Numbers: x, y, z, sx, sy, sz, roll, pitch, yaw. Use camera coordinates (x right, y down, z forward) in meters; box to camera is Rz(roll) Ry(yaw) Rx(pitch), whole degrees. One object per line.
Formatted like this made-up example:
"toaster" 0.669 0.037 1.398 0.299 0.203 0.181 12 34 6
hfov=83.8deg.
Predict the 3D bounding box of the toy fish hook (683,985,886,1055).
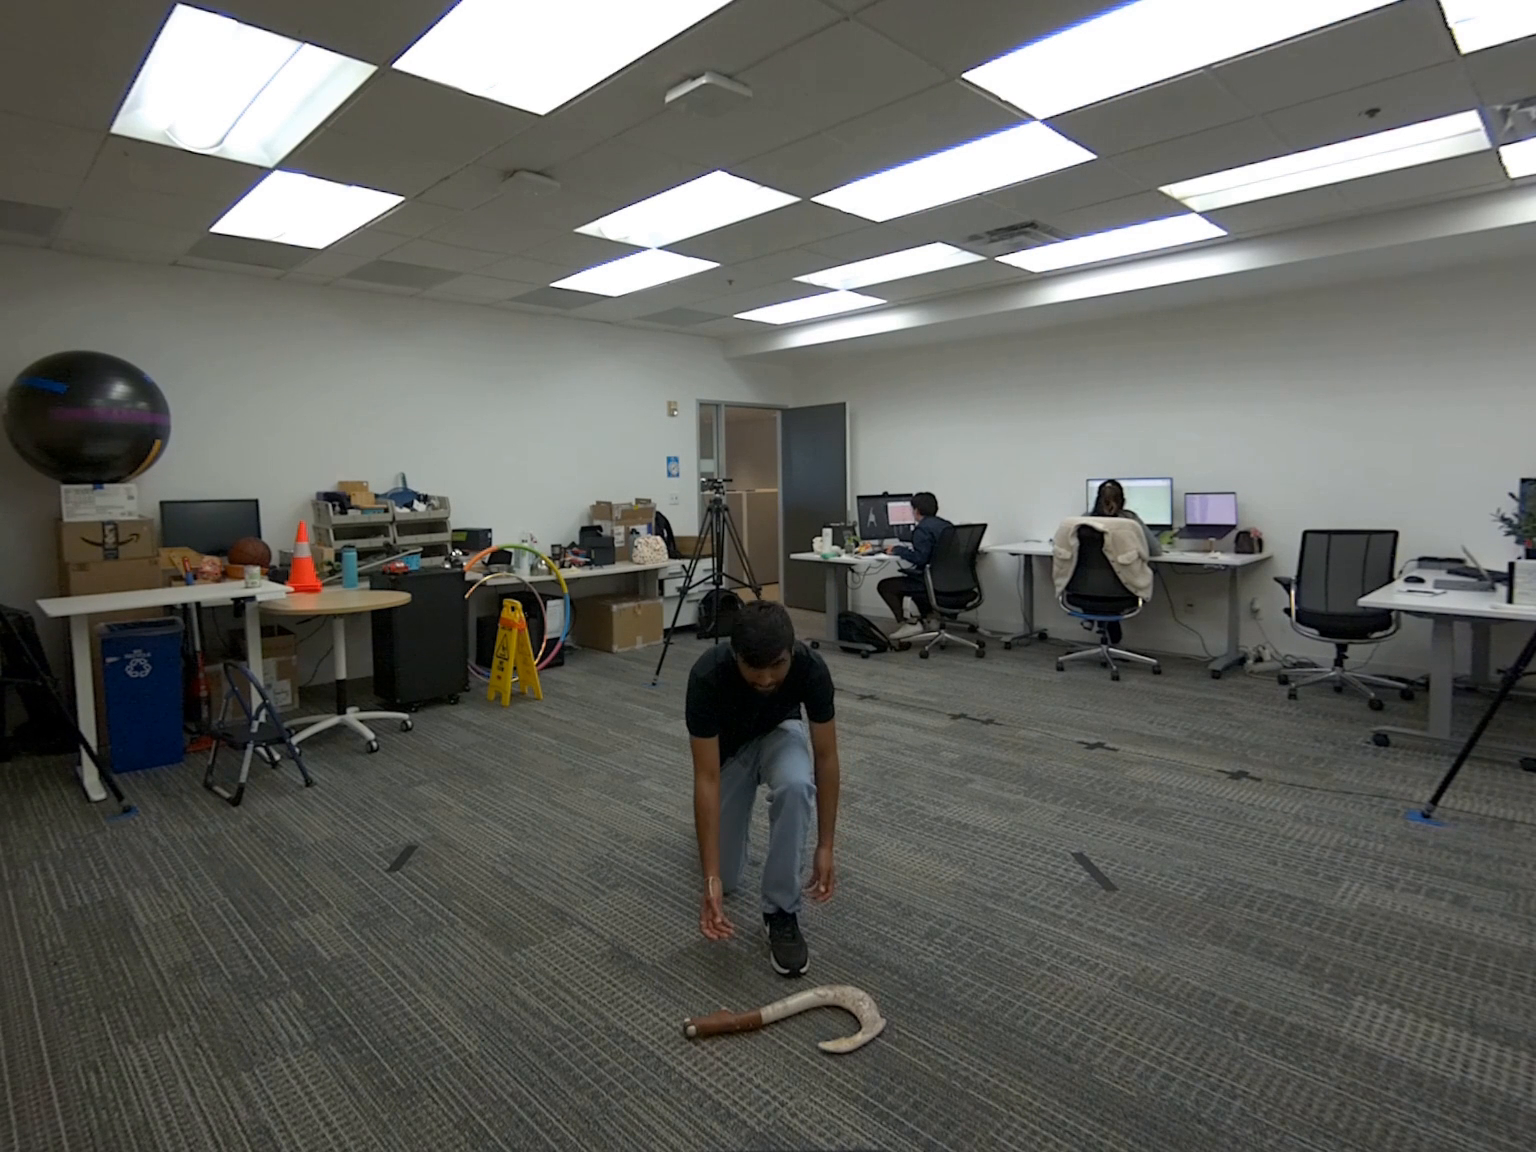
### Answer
"toy fish hook" 0.048 1.132 2.152 0.500 0.048 0.228 -3 6 -14
